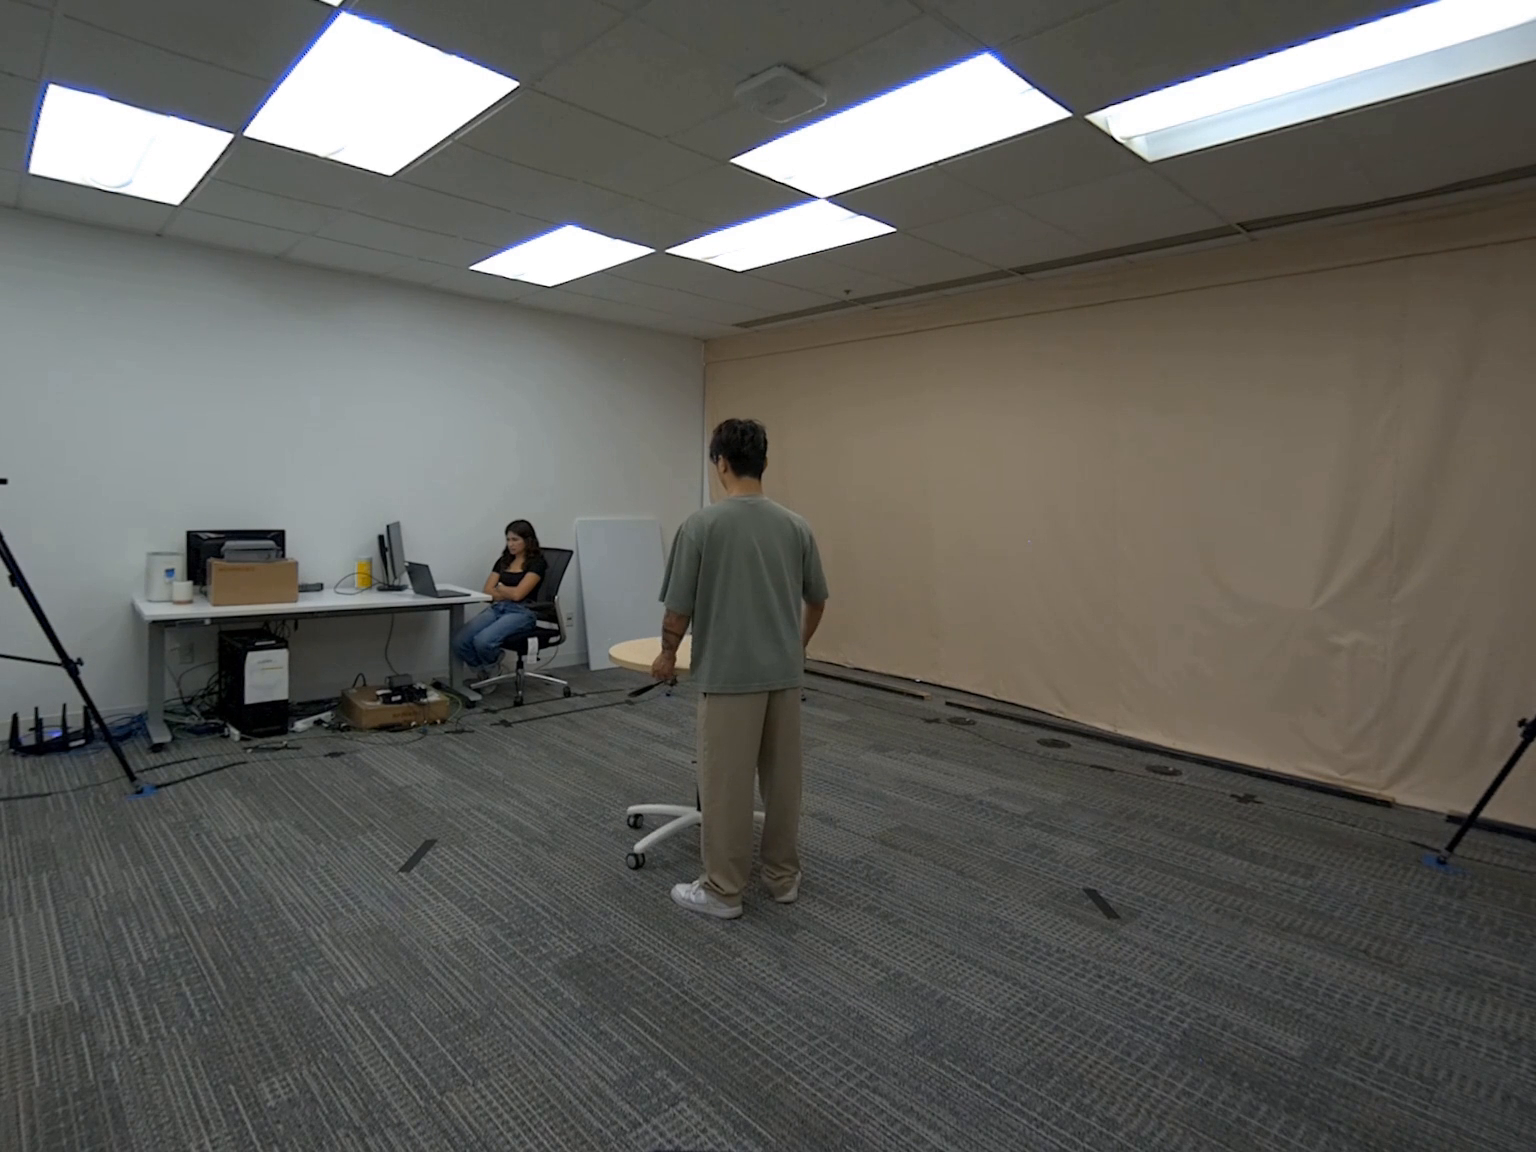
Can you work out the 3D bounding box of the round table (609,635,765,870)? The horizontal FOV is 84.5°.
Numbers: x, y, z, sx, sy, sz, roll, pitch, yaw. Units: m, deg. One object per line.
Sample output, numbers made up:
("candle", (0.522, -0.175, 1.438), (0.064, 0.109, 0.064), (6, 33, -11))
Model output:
("round table", (-0.245, 0.688, 3.366), (0.784, 0.784, 0.787), (1, 4, -1))
